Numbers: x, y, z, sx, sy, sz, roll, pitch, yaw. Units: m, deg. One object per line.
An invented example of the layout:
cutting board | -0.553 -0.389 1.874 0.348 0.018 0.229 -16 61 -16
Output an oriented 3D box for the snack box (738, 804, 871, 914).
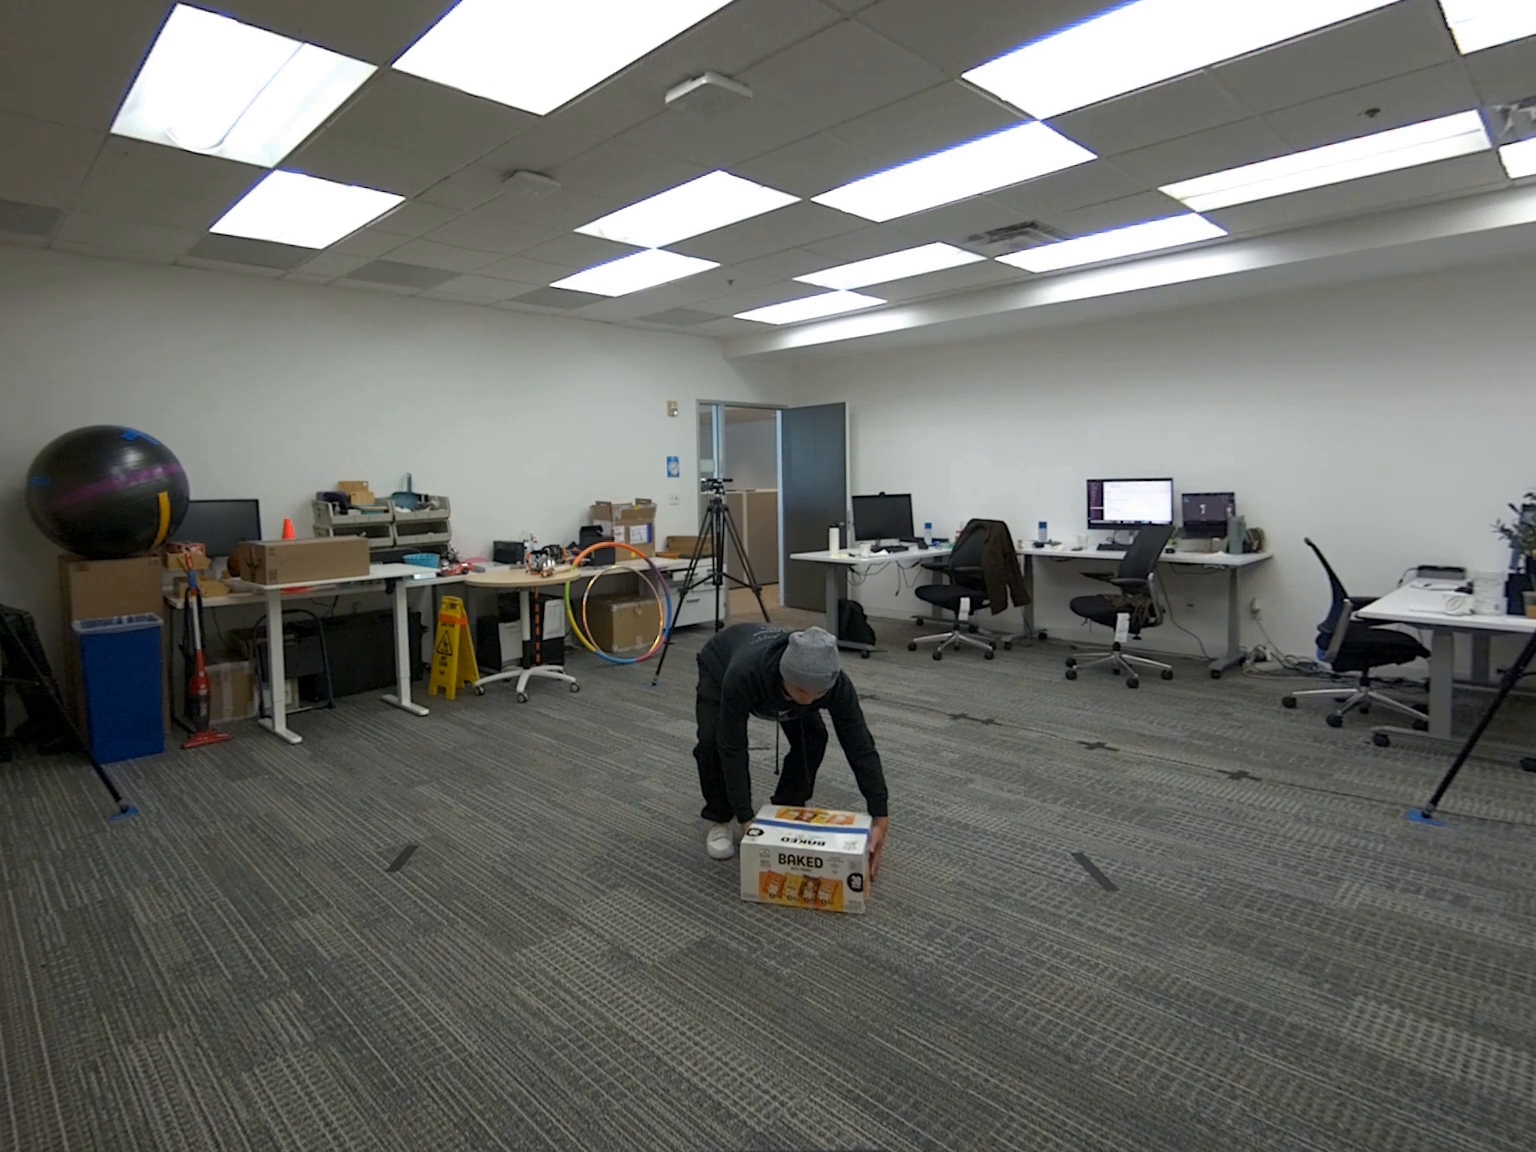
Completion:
snack box | 0.148 0.960 2.927 0.411 0.205 0.337 0 5 14
